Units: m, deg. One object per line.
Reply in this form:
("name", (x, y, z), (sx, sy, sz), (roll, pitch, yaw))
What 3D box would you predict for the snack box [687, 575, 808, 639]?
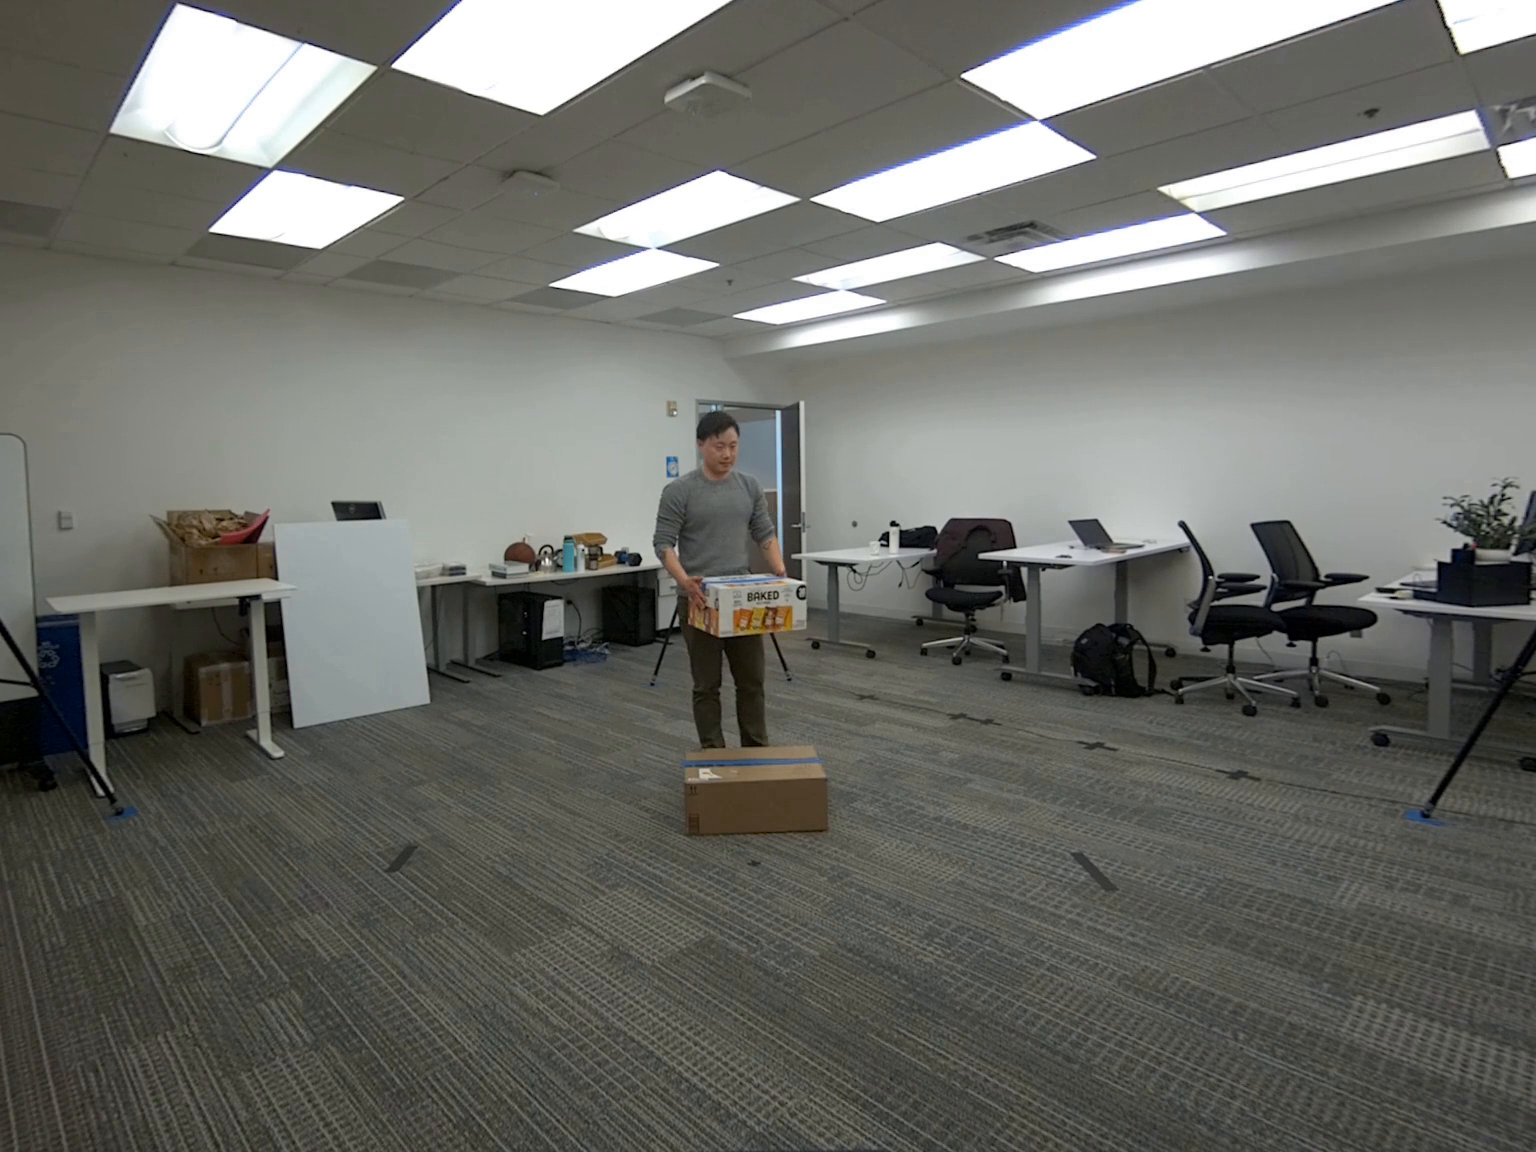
("snack box", (-0.096, 0.122, 3.676), (0.397, 0.204, 0.349), (-4, 8, -25))
